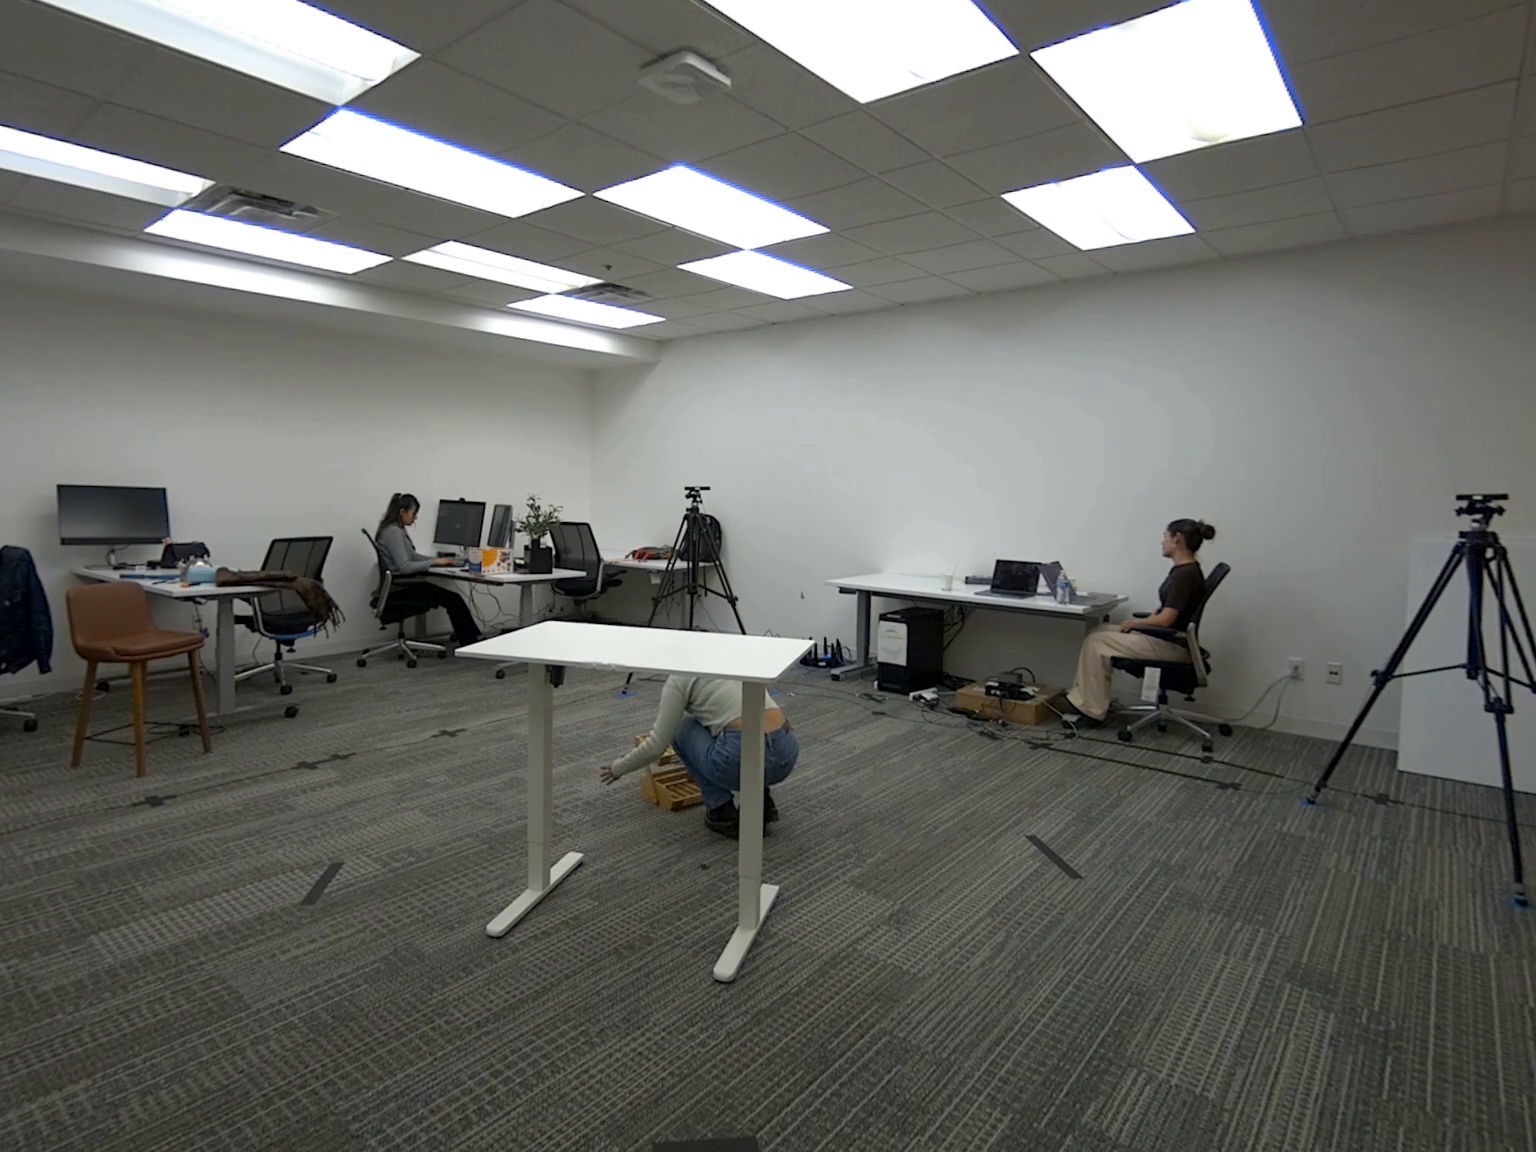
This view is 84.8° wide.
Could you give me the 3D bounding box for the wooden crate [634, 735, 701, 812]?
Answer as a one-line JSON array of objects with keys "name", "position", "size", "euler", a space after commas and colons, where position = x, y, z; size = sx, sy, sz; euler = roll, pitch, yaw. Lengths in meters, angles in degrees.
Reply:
[{"name": "wooden crate", "position": [-0.408, 0.850, 3.843], "size": [0.315, 0.272, 0.312], "euler": [-4, 6, -39]}]
